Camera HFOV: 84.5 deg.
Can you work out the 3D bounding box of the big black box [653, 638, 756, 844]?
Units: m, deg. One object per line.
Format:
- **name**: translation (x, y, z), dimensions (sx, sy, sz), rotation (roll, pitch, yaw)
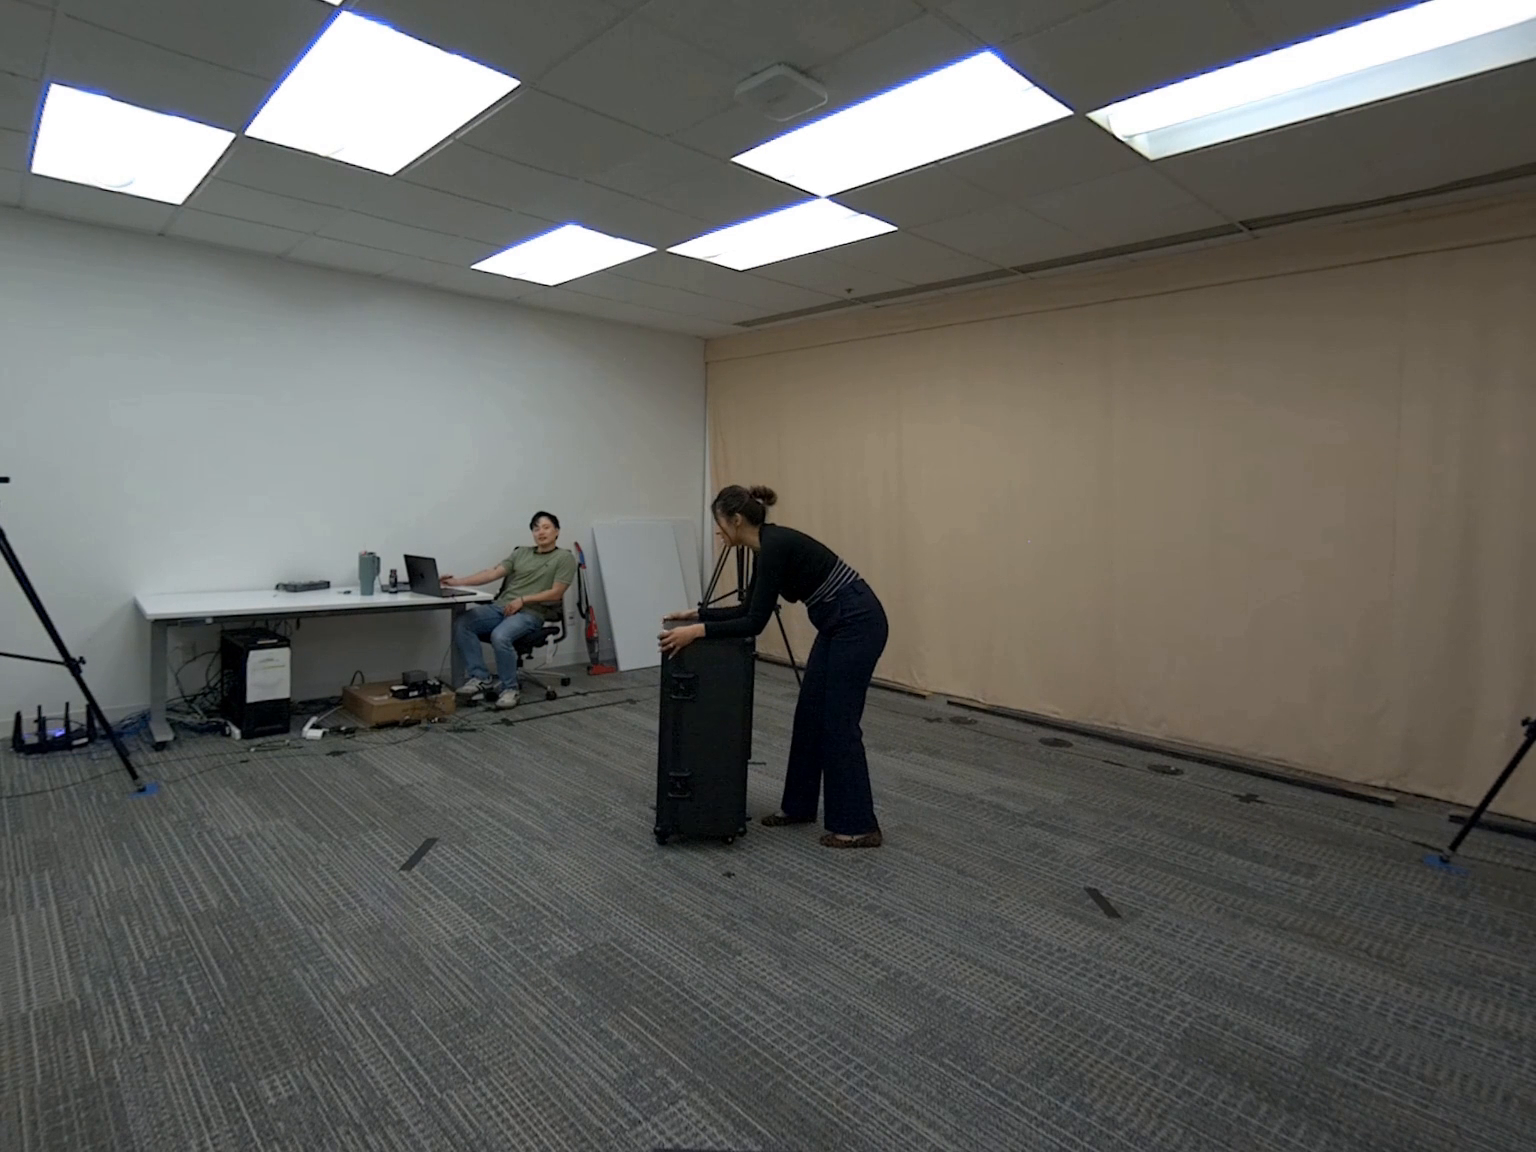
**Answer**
- **big black box**: translation (-0.270, 0.640, 3.506), dimensions (0.395, 0.860, 0.523), rotation (3, 2, -5)
